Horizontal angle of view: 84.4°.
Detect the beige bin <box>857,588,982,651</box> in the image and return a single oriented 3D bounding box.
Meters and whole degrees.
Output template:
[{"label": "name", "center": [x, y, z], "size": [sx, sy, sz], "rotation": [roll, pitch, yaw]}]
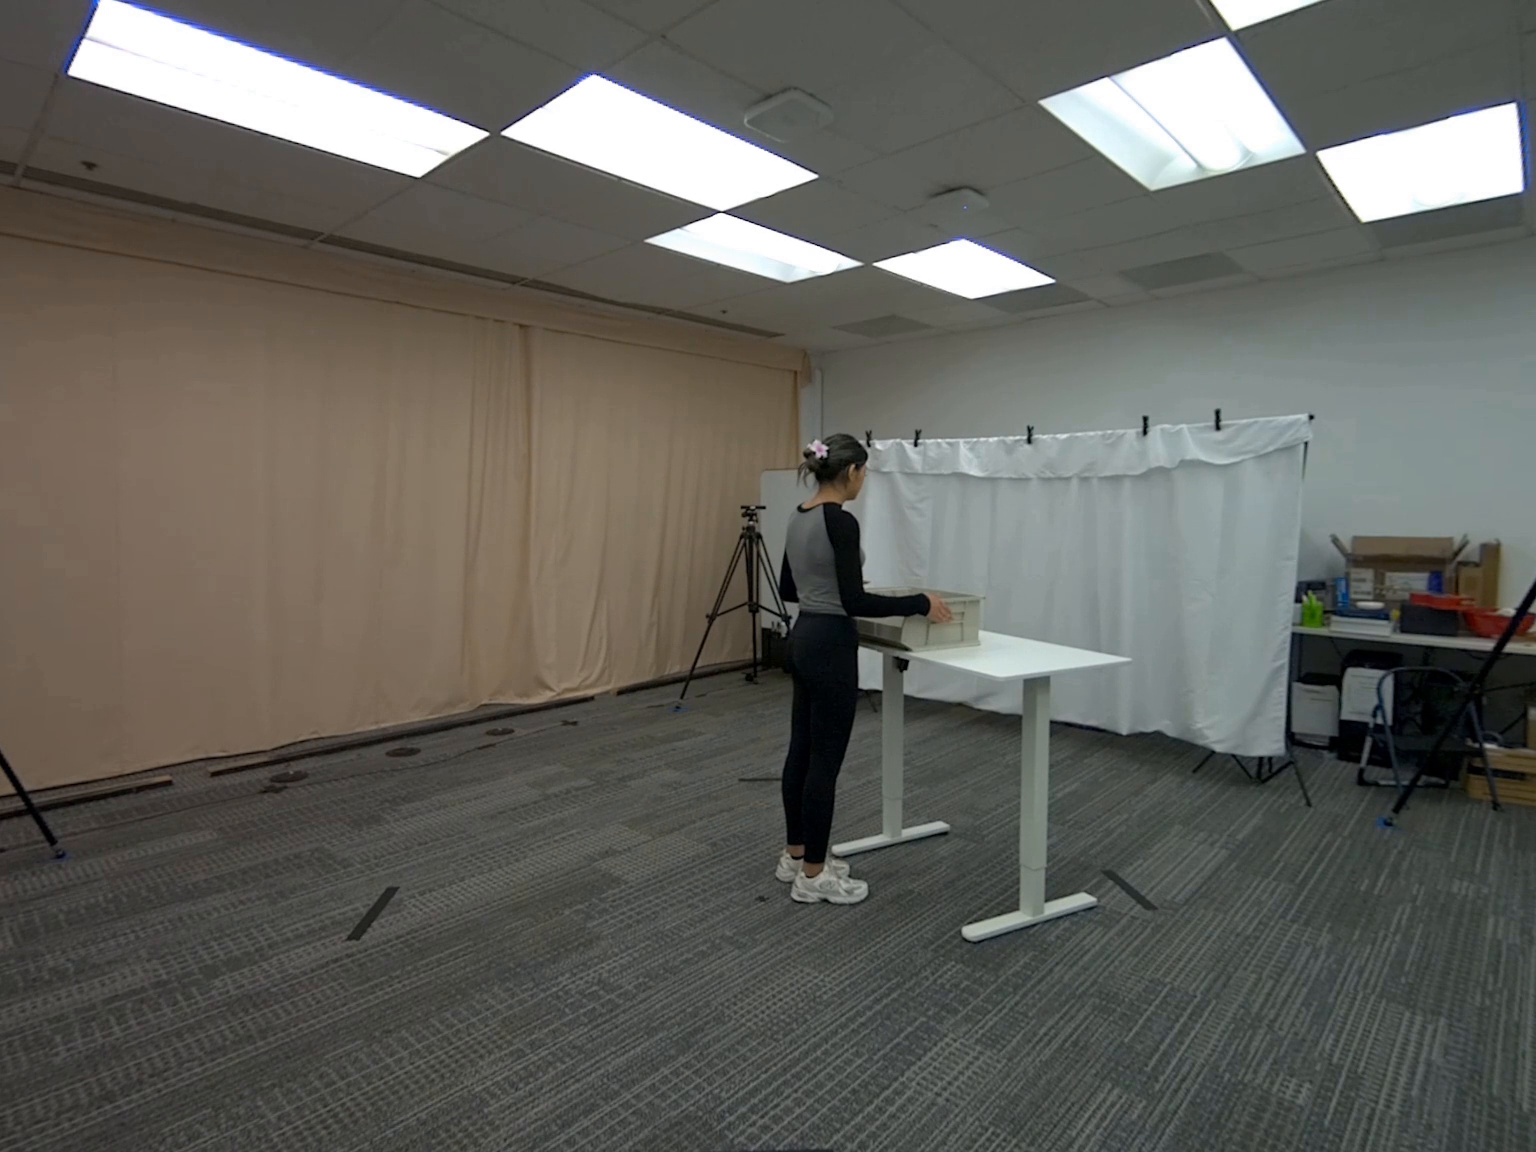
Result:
[{"label": "beige bin", "center": [0.518, 0.153, 3.155], "size": [0.367, 0.189, 0.434], "rotation": [0, 4, -28]}]
